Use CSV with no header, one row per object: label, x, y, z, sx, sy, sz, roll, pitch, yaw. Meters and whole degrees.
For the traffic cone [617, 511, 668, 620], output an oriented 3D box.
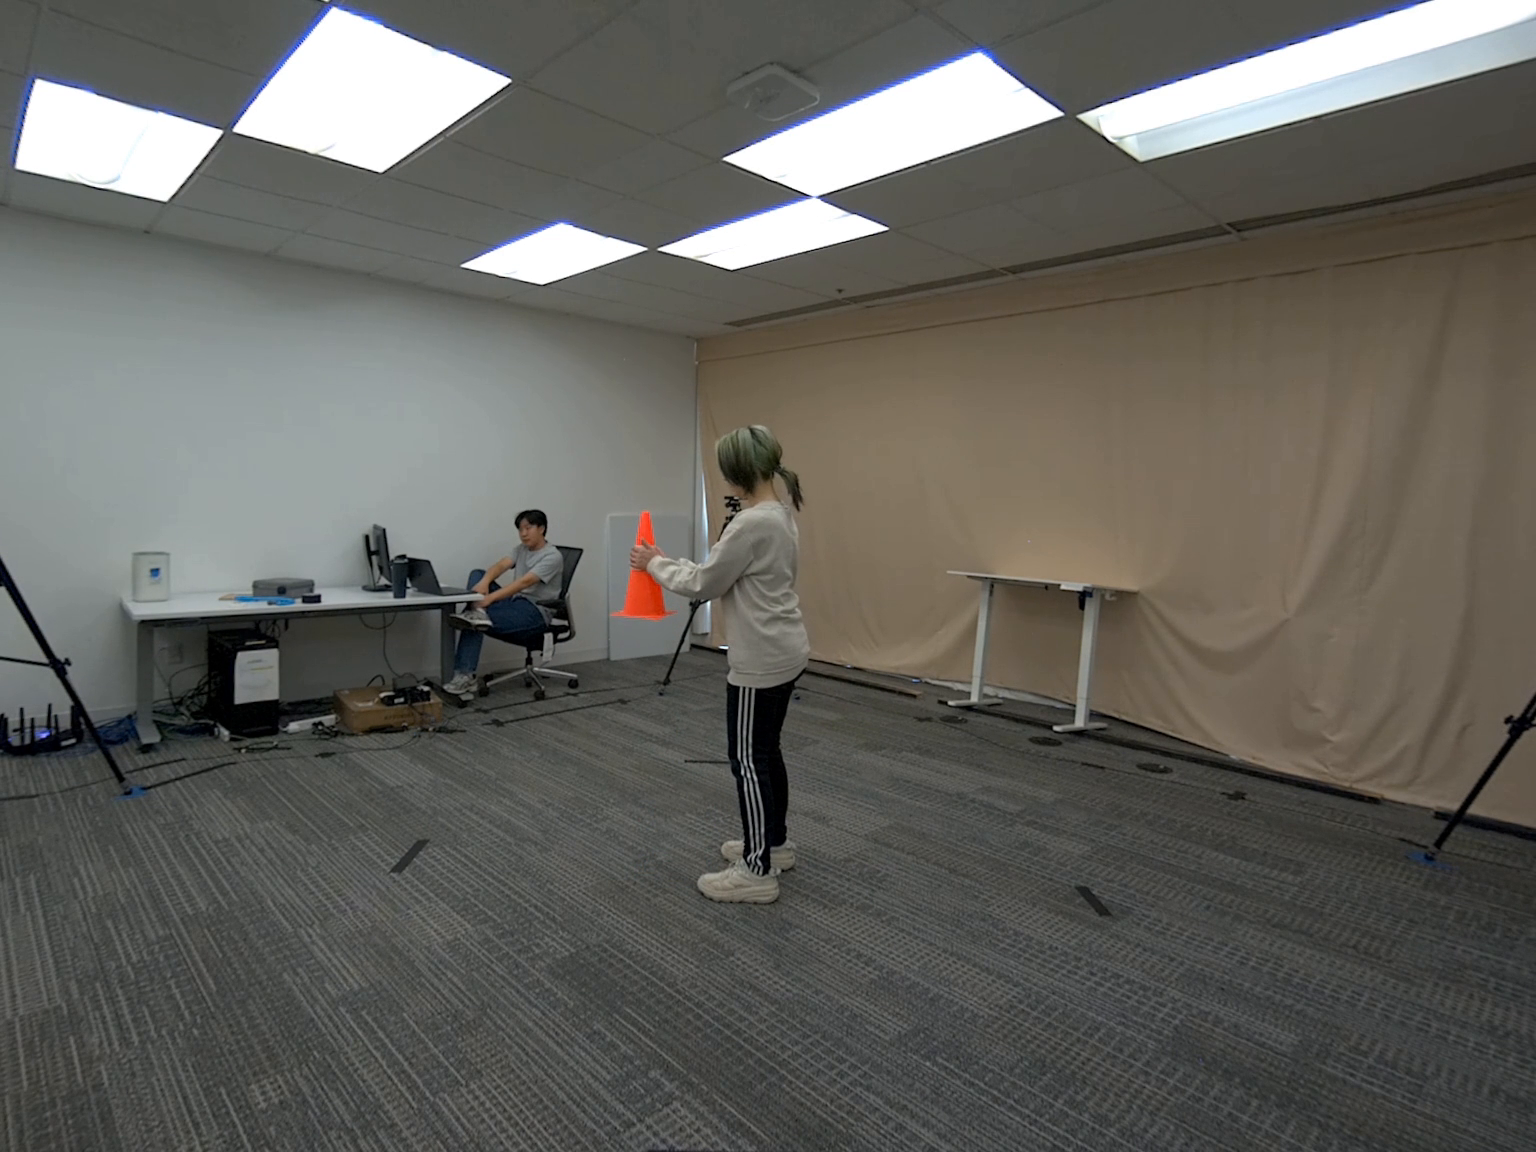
traffic cone,-0.460,-0.038,3.153,0.207,0.382,0.202,3,6,22
